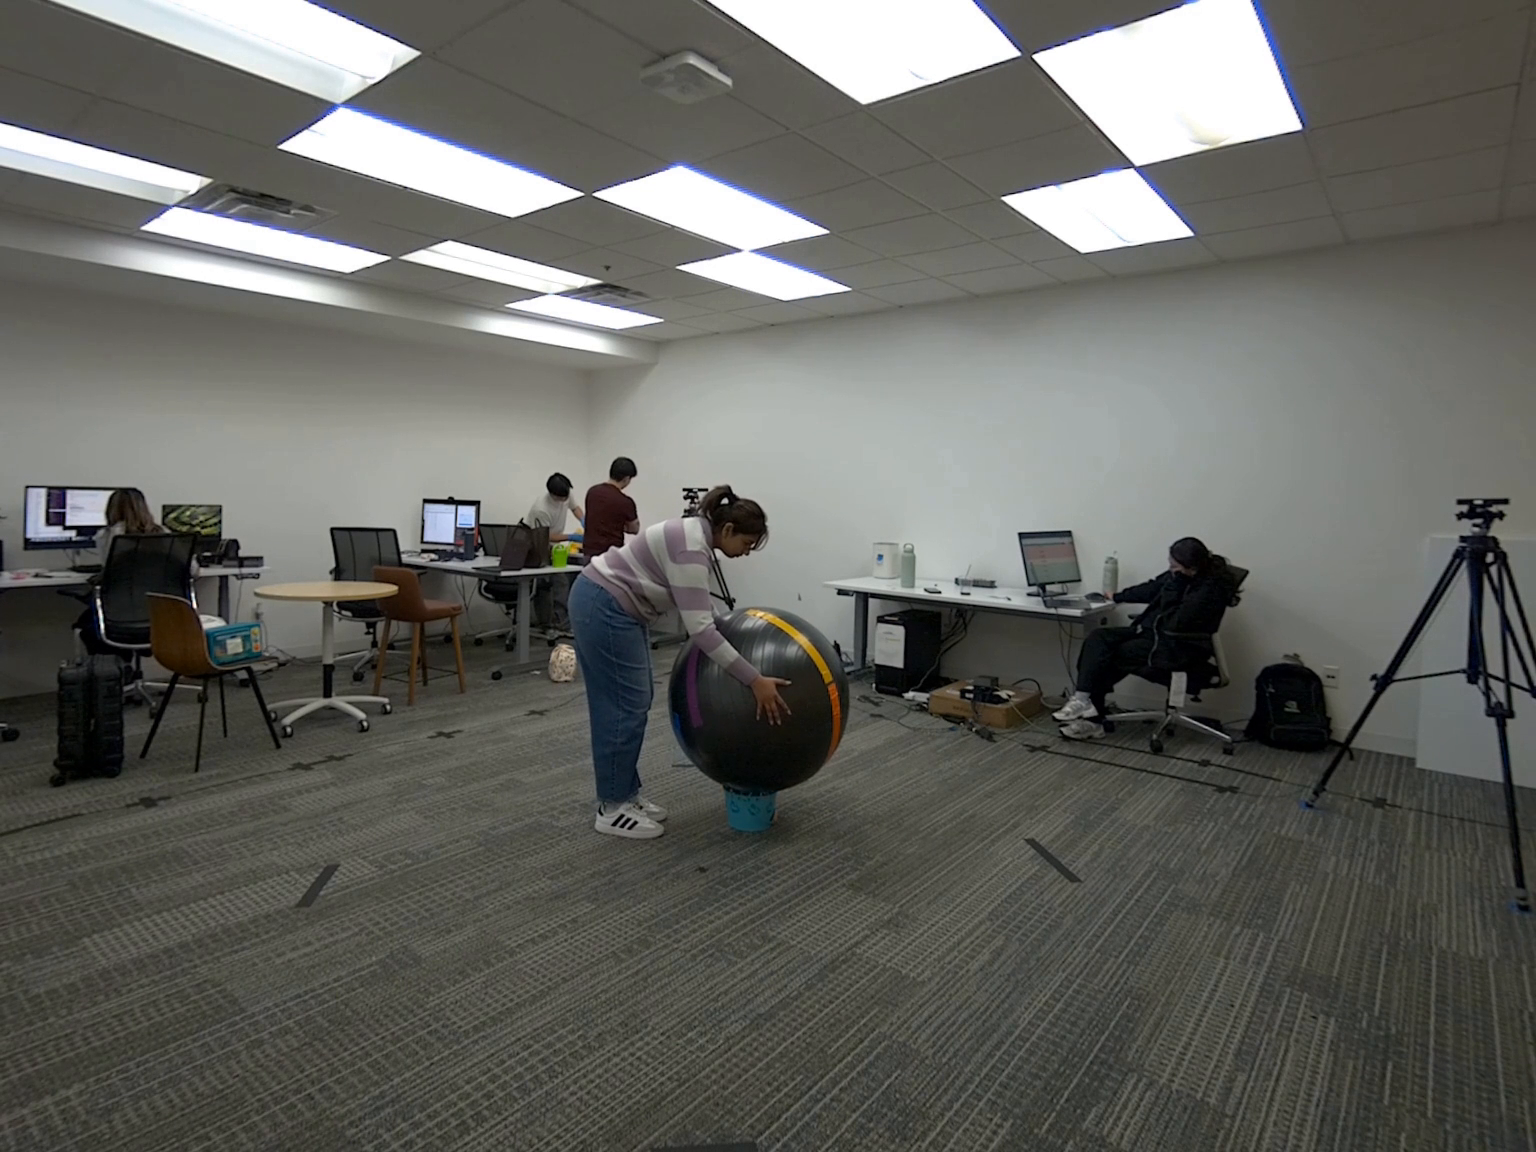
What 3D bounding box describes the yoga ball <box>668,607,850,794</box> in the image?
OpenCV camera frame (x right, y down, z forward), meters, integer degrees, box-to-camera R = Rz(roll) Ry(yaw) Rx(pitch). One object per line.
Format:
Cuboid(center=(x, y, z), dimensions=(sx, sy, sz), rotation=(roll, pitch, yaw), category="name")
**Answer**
Cuboid(center=(-0.047, 0.508, 3.560), dimensions=(0.757, 0.756, 0.761), rotation=(1, 4, -2), category="yoga ball")
